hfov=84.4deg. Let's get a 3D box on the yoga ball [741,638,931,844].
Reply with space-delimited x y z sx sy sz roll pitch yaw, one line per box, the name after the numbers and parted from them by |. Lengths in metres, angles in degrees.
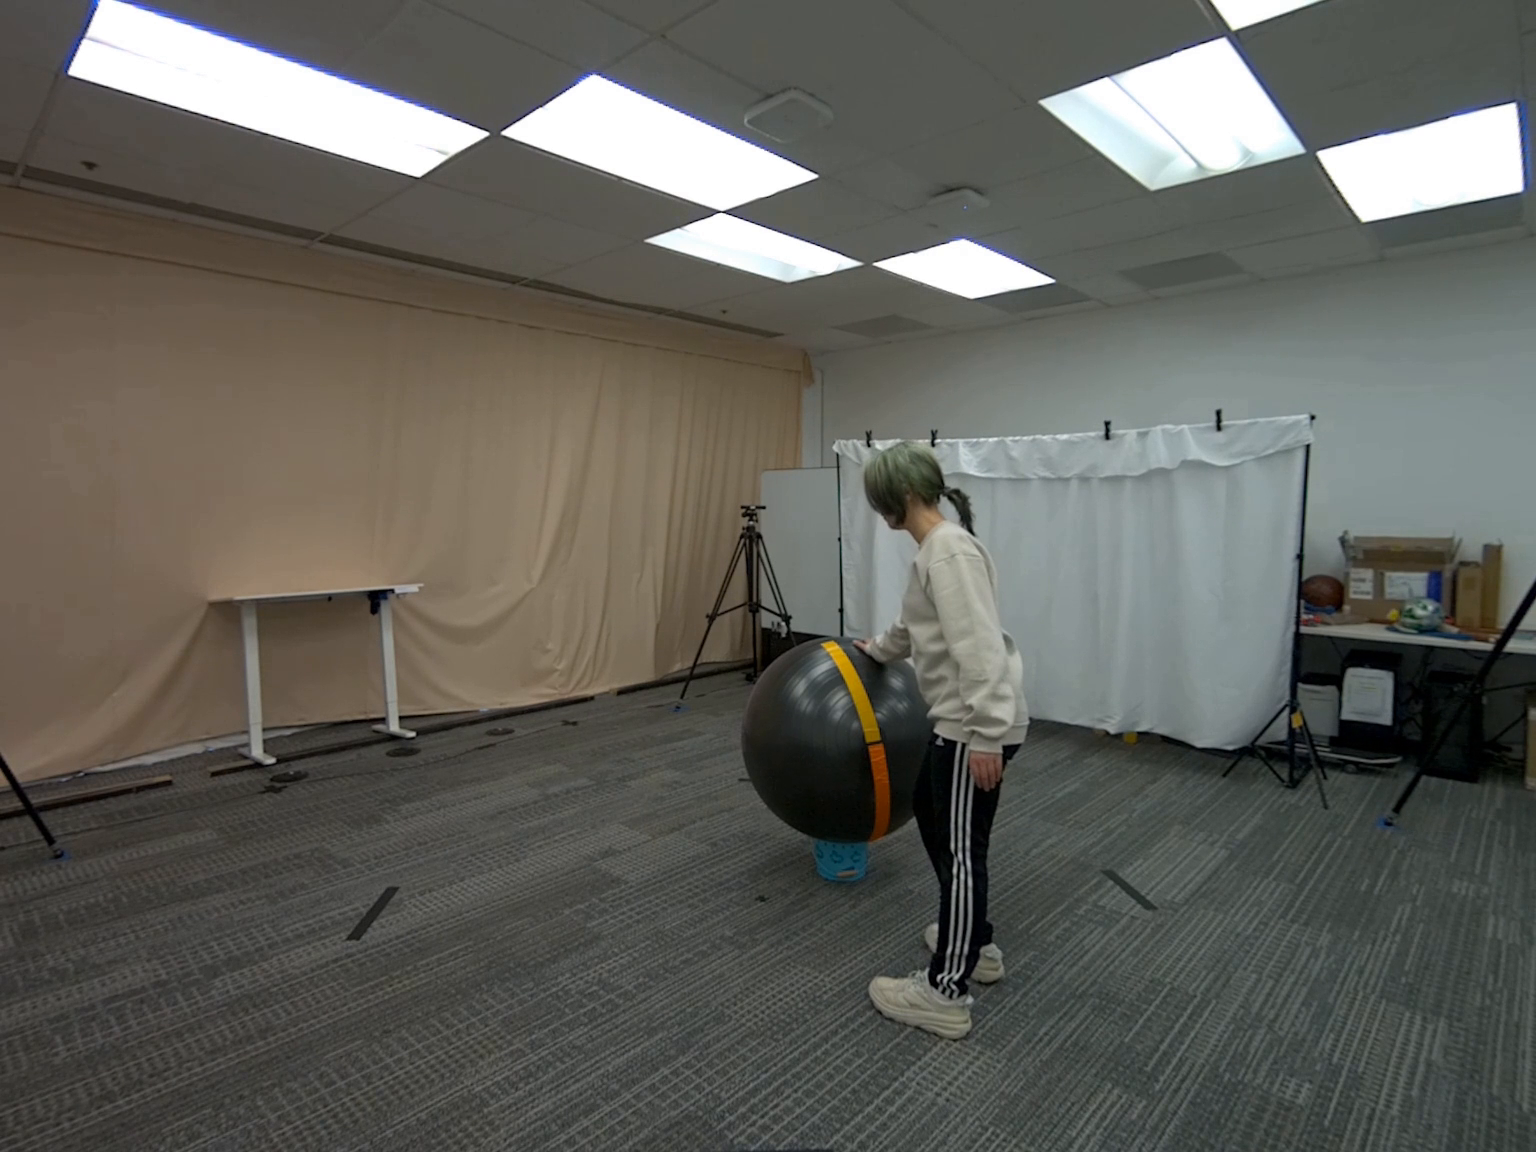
0.279 0.614 3.186 0.757 0.756 0.760 0 4 -2 | yoga ball
